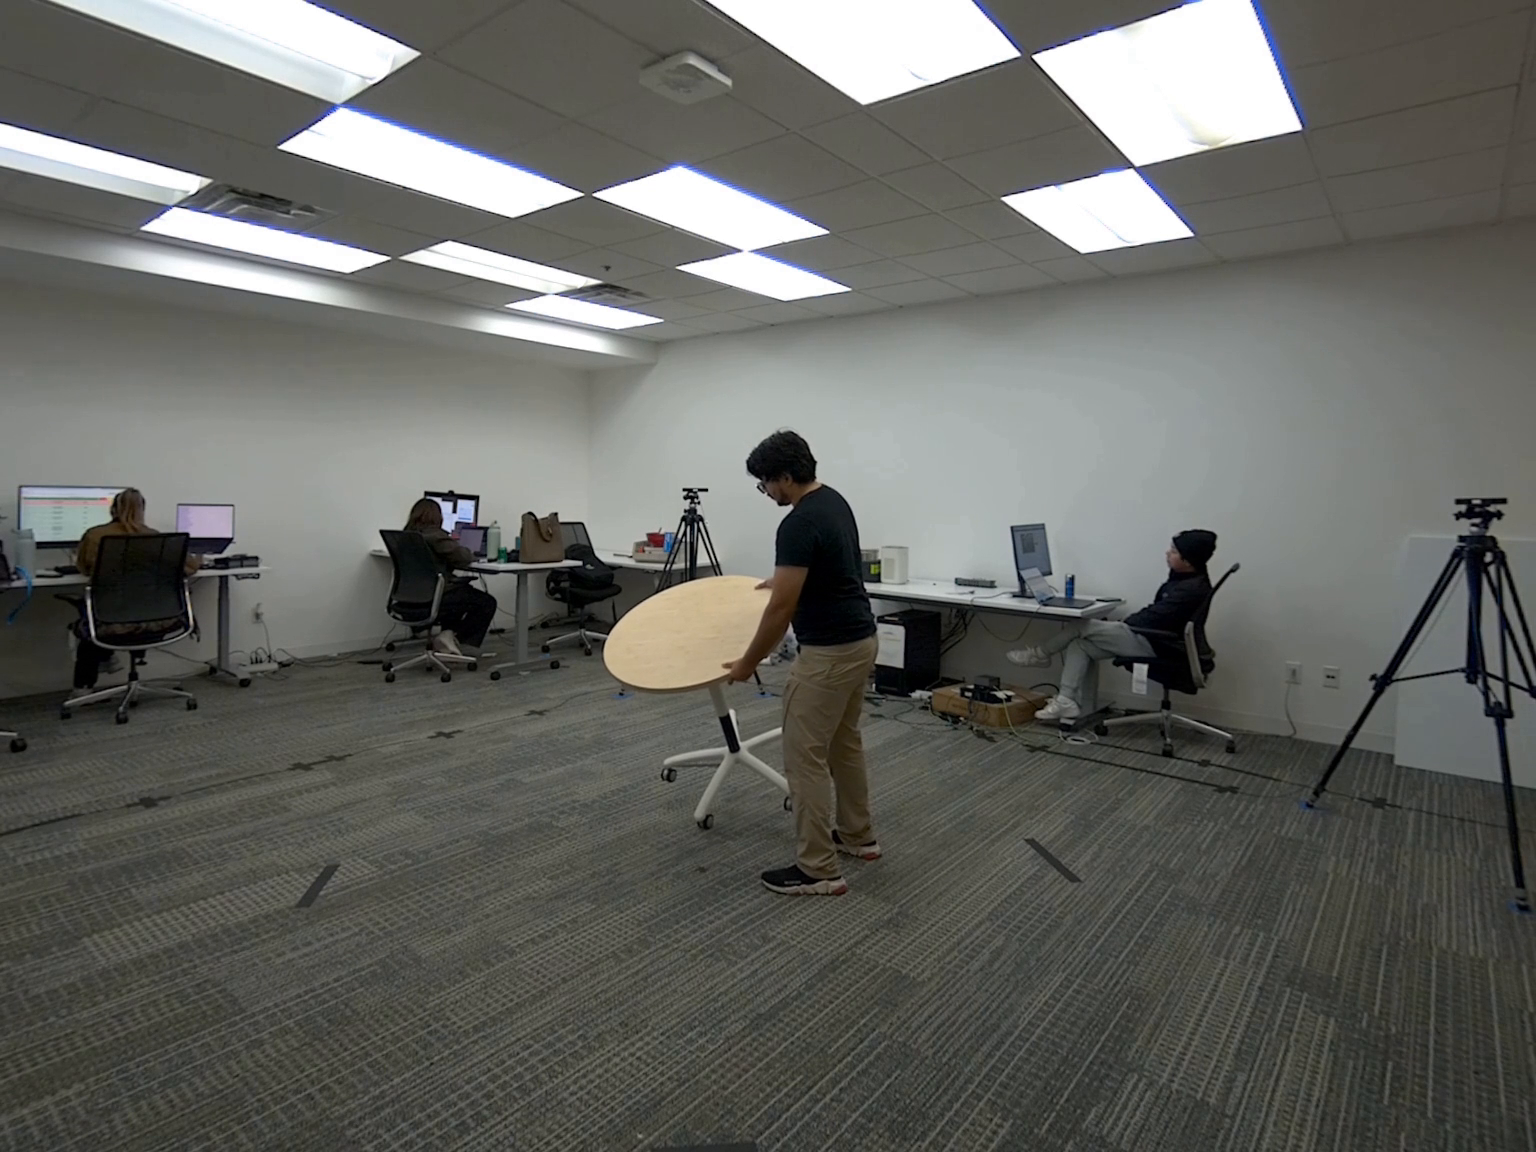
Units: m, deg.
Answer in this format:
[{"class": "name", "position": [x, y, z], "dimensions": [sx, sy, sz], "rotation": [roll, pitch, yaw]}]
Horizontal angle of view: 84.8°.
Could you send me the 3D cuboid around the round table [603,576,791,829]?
[{"class": "round table", "position": [-0.210, 0.526, 3.578], "dimensions": [0.789, 0.764, 0.804], "rotation": [-12, 27, 5]}]
